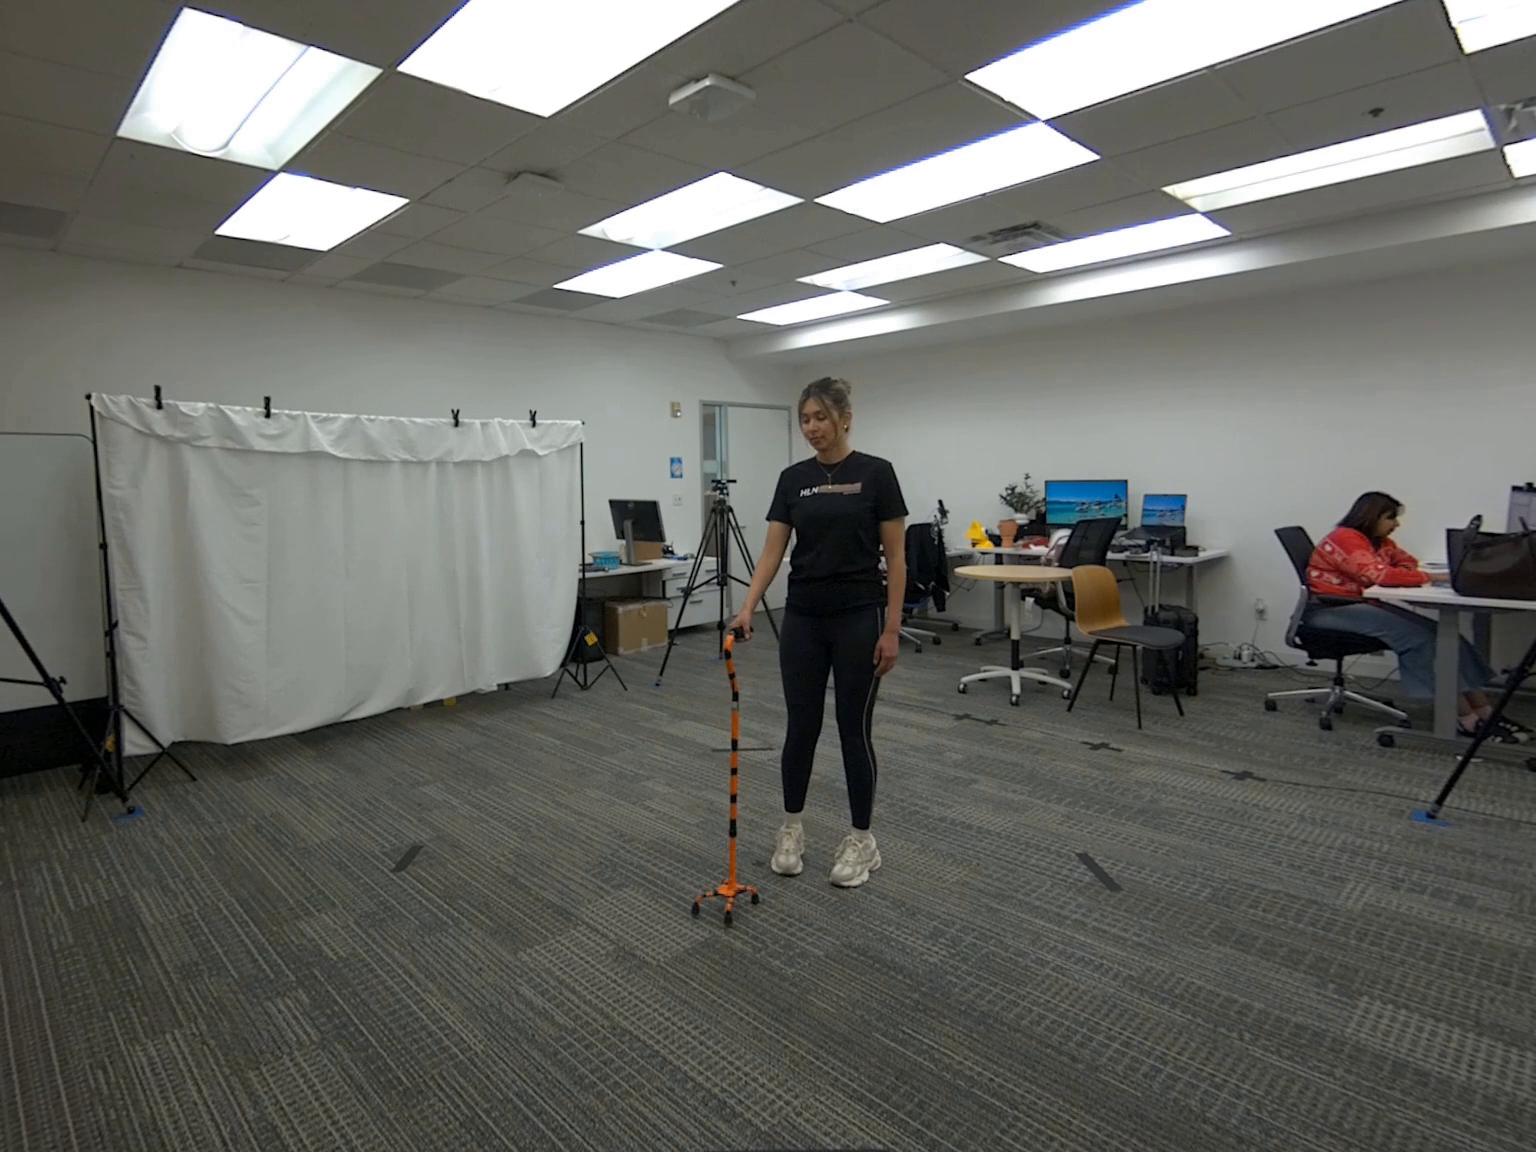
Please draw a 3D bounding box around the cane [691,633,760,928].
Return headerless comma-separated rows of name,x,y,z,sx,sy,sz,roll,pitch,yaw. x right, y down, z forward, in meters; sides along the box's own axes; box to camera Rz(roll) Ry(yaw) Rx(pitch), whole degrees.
cane,-0.121,0.629,2.775,0.155,0.908,0.202,1,0,25
